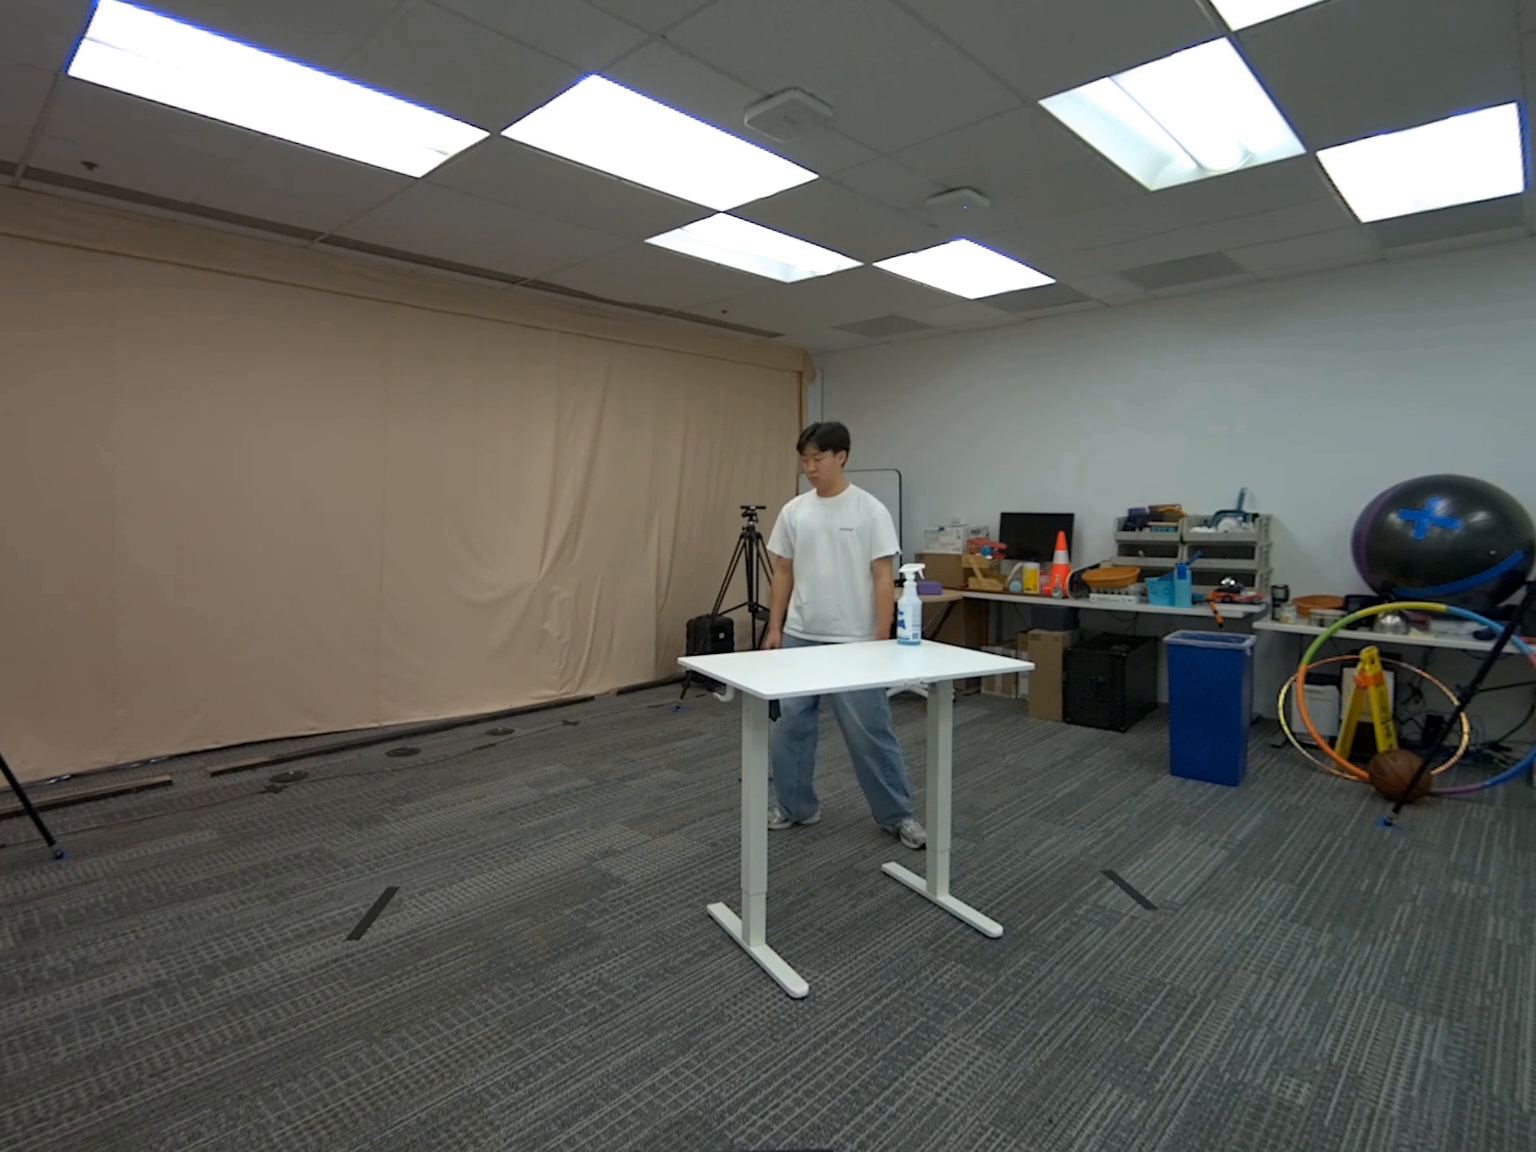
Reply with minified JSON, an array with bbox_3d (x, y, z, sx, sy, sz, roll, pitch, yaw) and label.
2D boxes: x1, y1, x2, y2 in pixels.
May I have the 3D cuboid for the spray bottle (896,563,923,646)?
[{"bbox_3d":[0.527,0.105,3.100,0.093,0.297,0.084,5,4,39],"label":"spray bottle"}]
